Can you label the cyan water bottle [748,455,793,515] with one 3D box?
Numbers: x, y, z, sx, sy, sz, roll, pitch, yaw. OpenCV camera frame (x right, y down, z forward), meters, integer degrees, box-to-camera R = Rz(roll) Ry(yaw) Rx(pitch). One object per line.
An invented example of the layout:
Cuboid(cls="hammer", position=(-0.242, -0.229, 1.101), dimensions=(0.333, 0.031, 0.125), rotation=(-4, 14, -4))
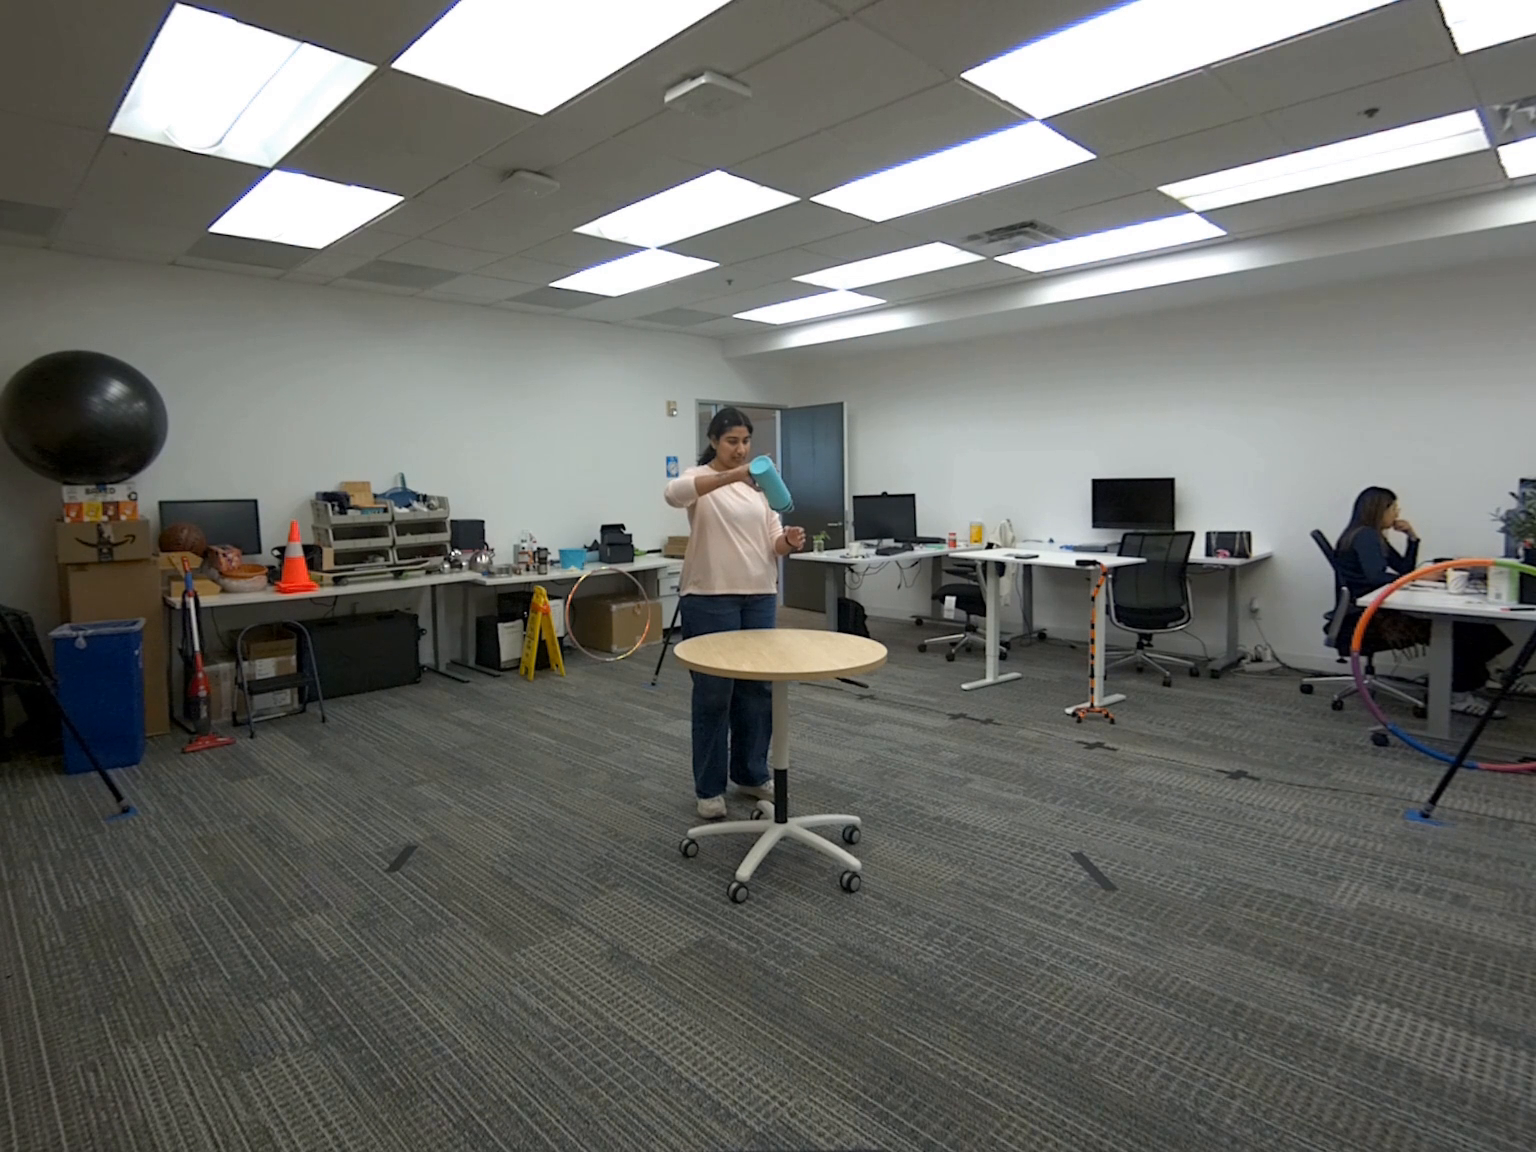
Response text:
Cuboid(cls="cyan water bottle", position=(0.016, -0.332, 3.262), dimensions=(0.094, 0.093, 0.272), rotation=(2, -33, 28))
